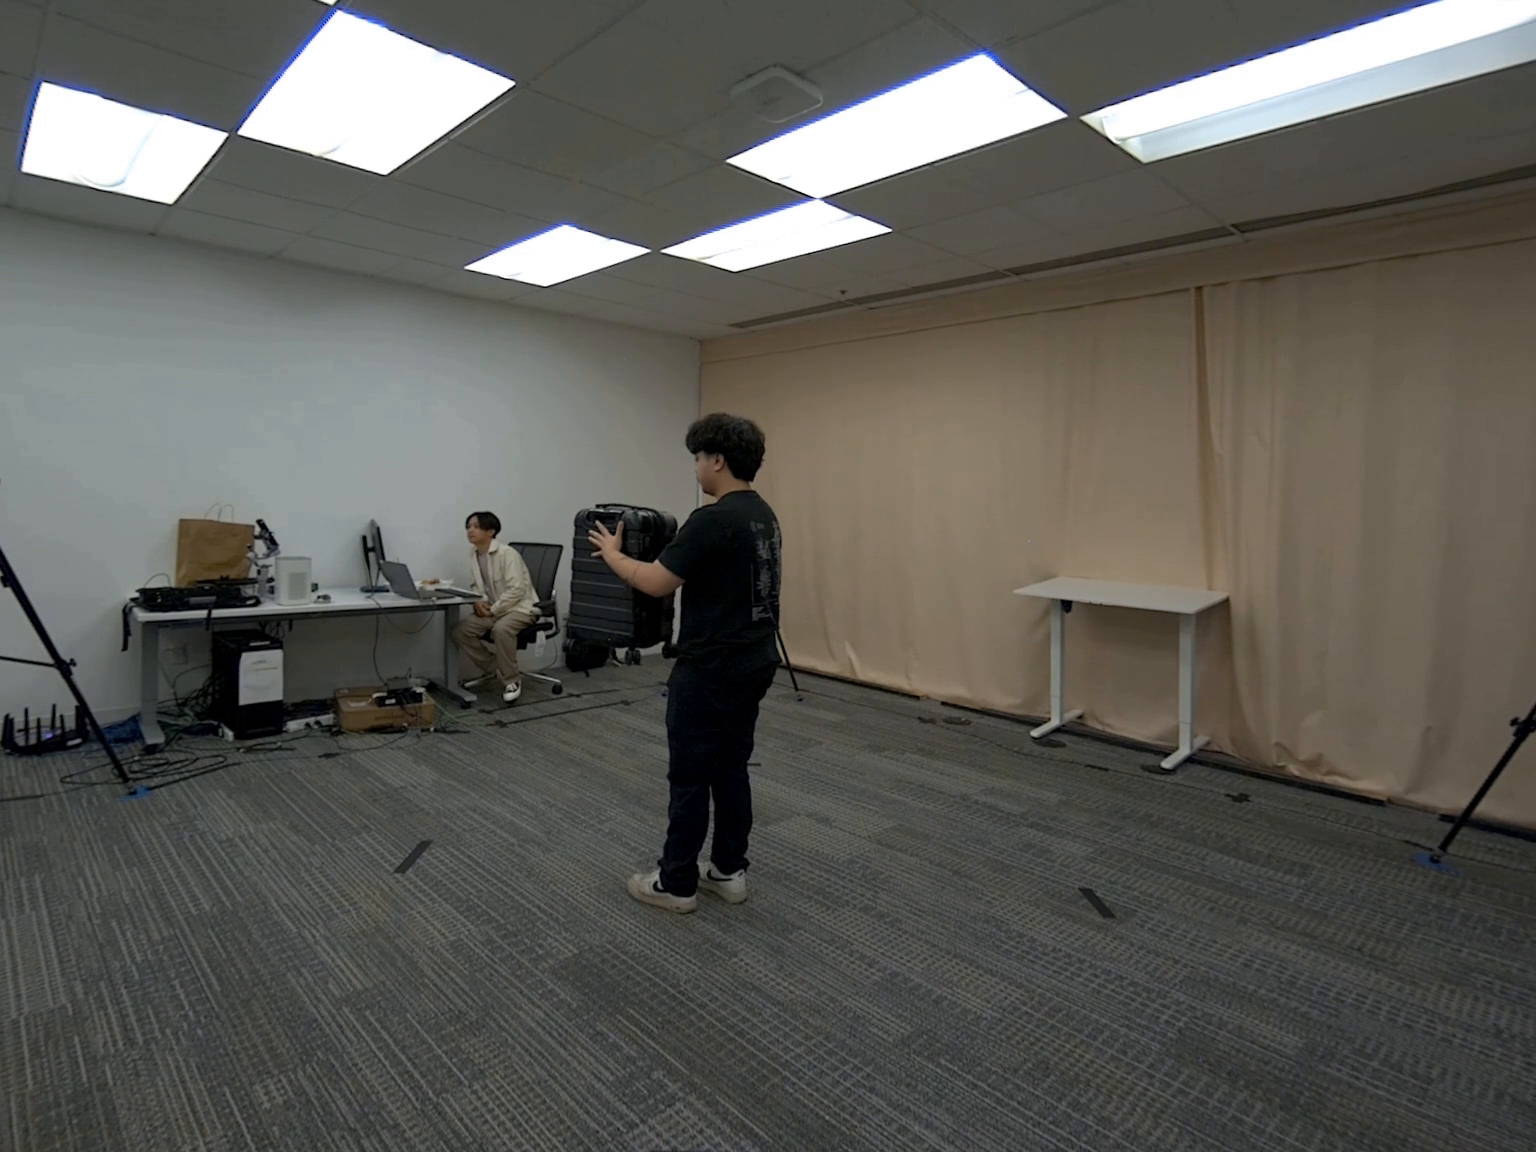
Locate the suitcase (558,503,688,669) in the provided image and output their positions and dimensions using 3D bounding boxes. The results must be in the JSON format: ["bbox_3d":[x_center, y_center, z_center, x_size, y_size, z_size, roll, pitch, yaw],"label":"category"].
[{"bbox_3d":[-0.531,0.019,3.082,0.384,0.548,0.243,5,3,34],"label":"suitcase"}]
